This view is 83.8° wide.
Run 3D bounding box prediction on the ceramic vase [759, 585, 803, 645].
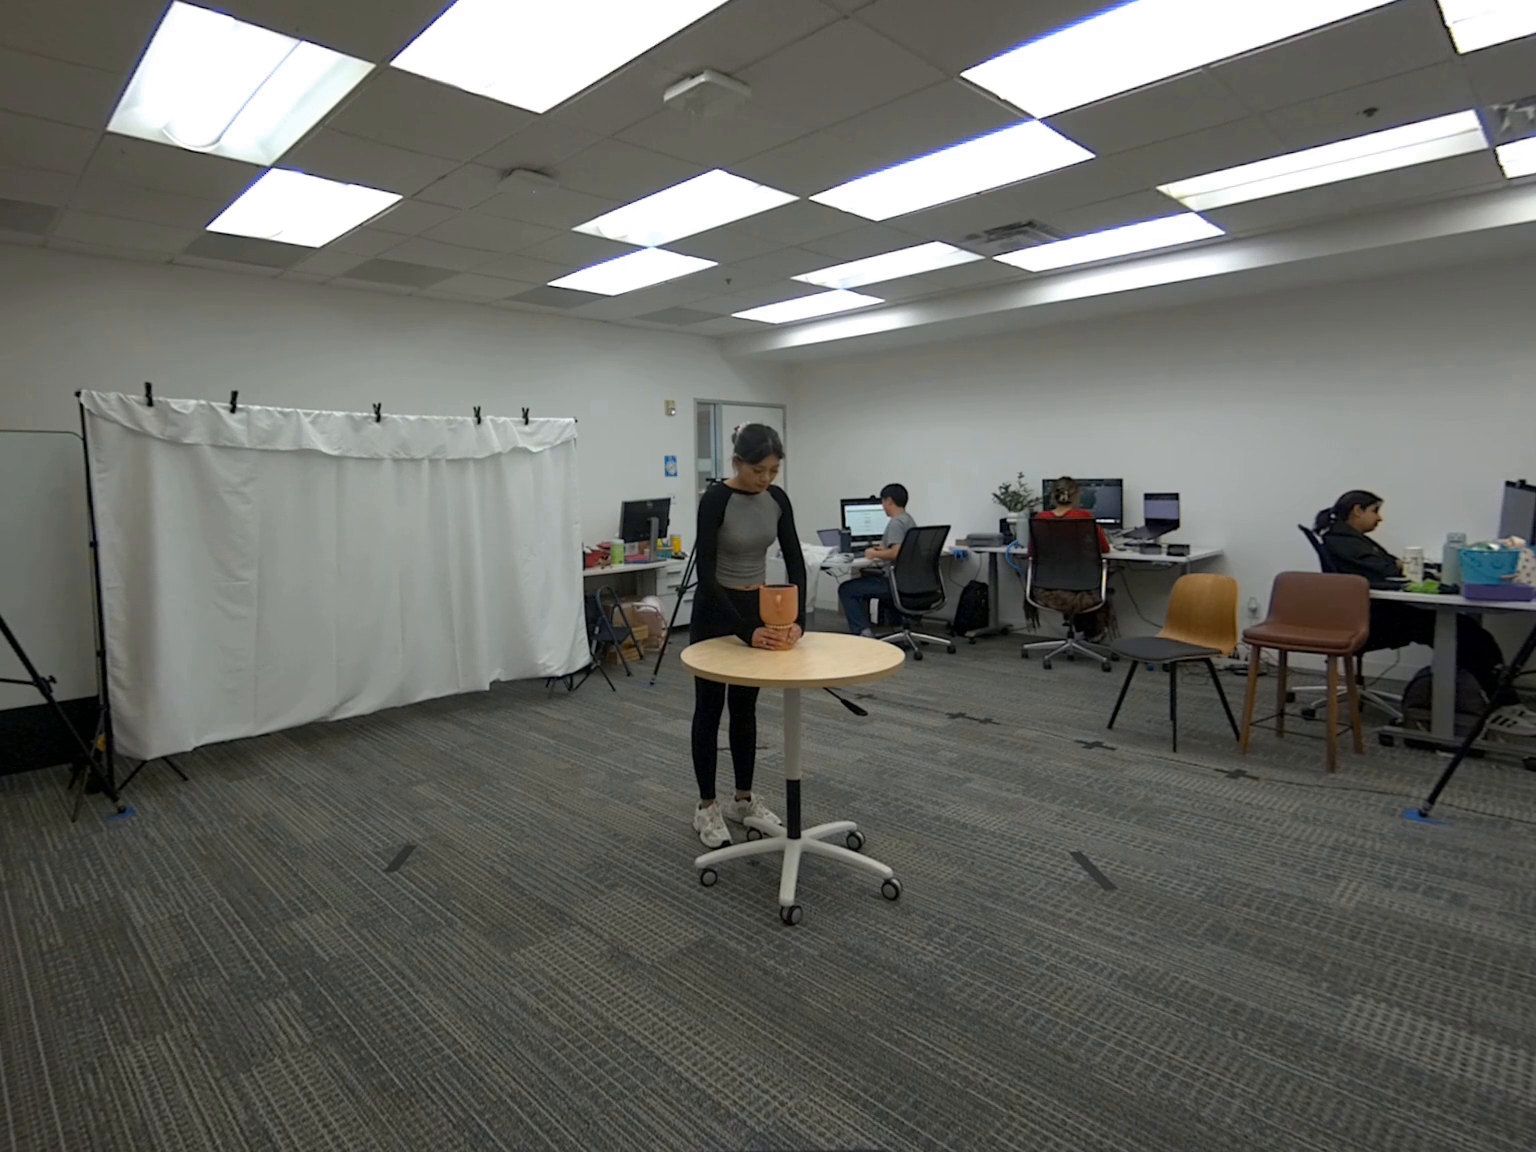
[{"bbox_3d":[0.036,0.142,3.028,0.139,0.219,0.155,3,7,41],"label":"ceramic vase"}]
